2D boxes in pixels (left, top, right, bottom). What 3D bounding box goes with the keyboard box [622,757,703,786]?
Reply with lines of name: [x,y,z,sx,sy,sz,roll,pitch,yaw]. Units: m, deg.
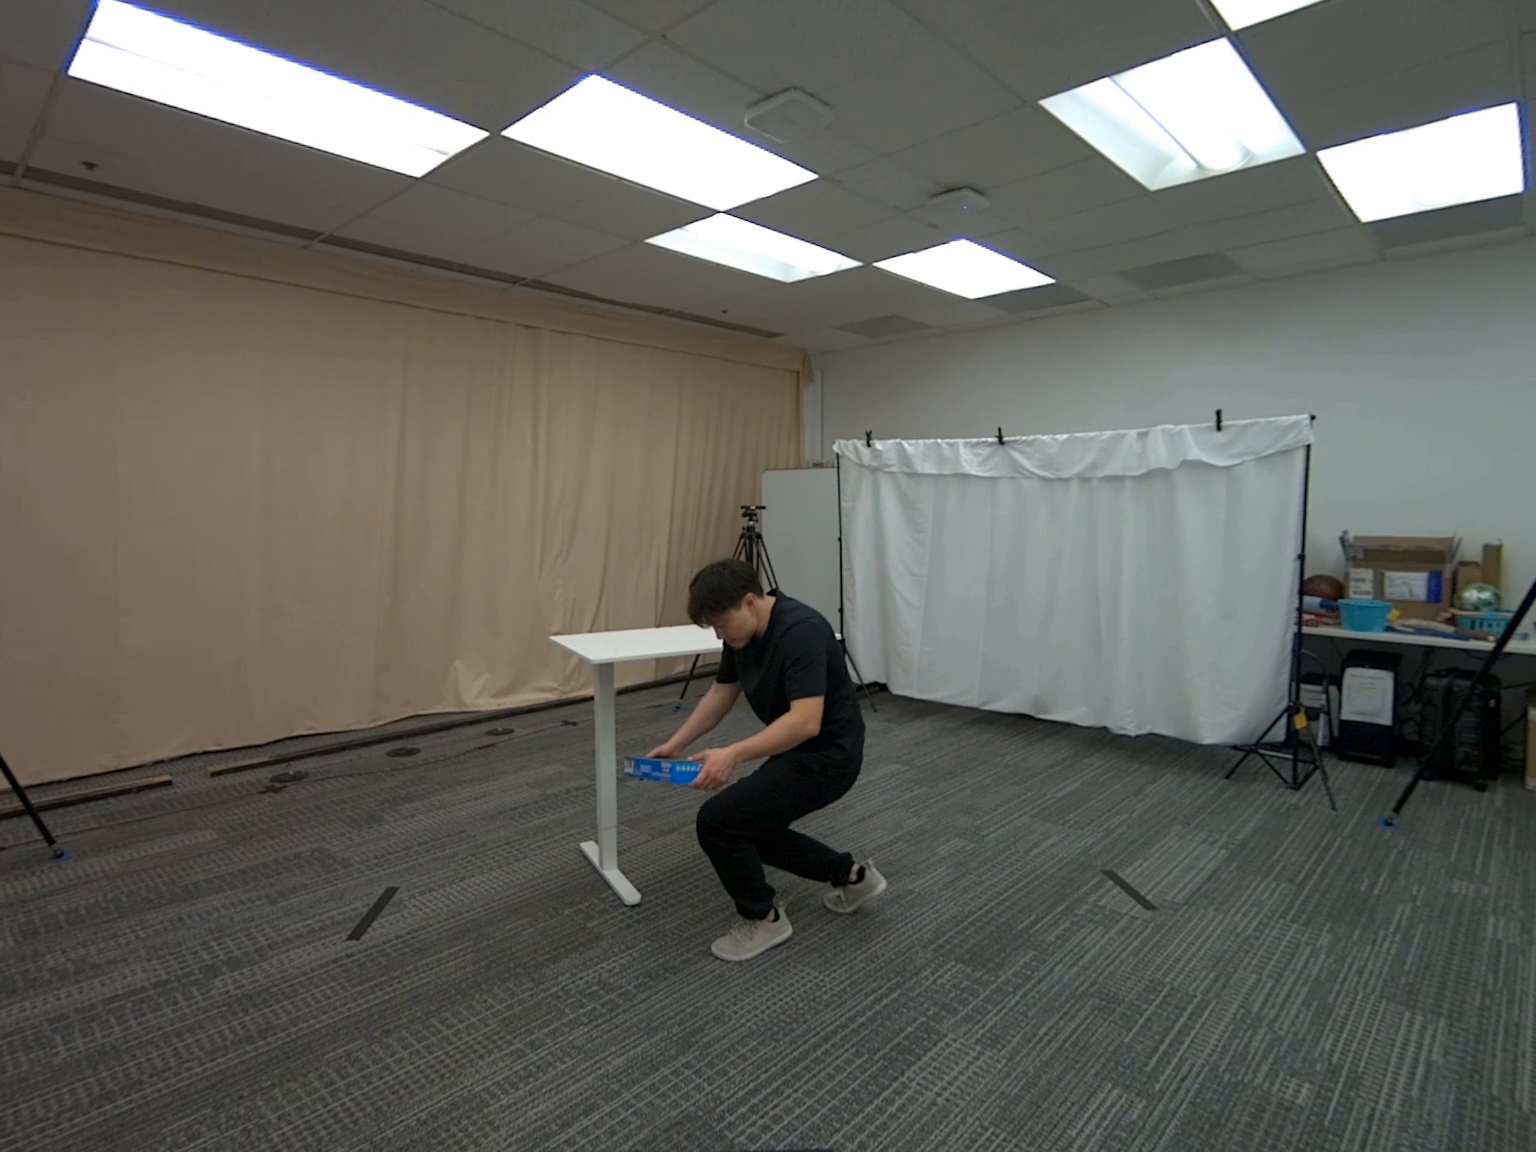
keyboard box: [-0.280,0.571,2.517,0.171,0.059,0.445,9,-13,-25]
